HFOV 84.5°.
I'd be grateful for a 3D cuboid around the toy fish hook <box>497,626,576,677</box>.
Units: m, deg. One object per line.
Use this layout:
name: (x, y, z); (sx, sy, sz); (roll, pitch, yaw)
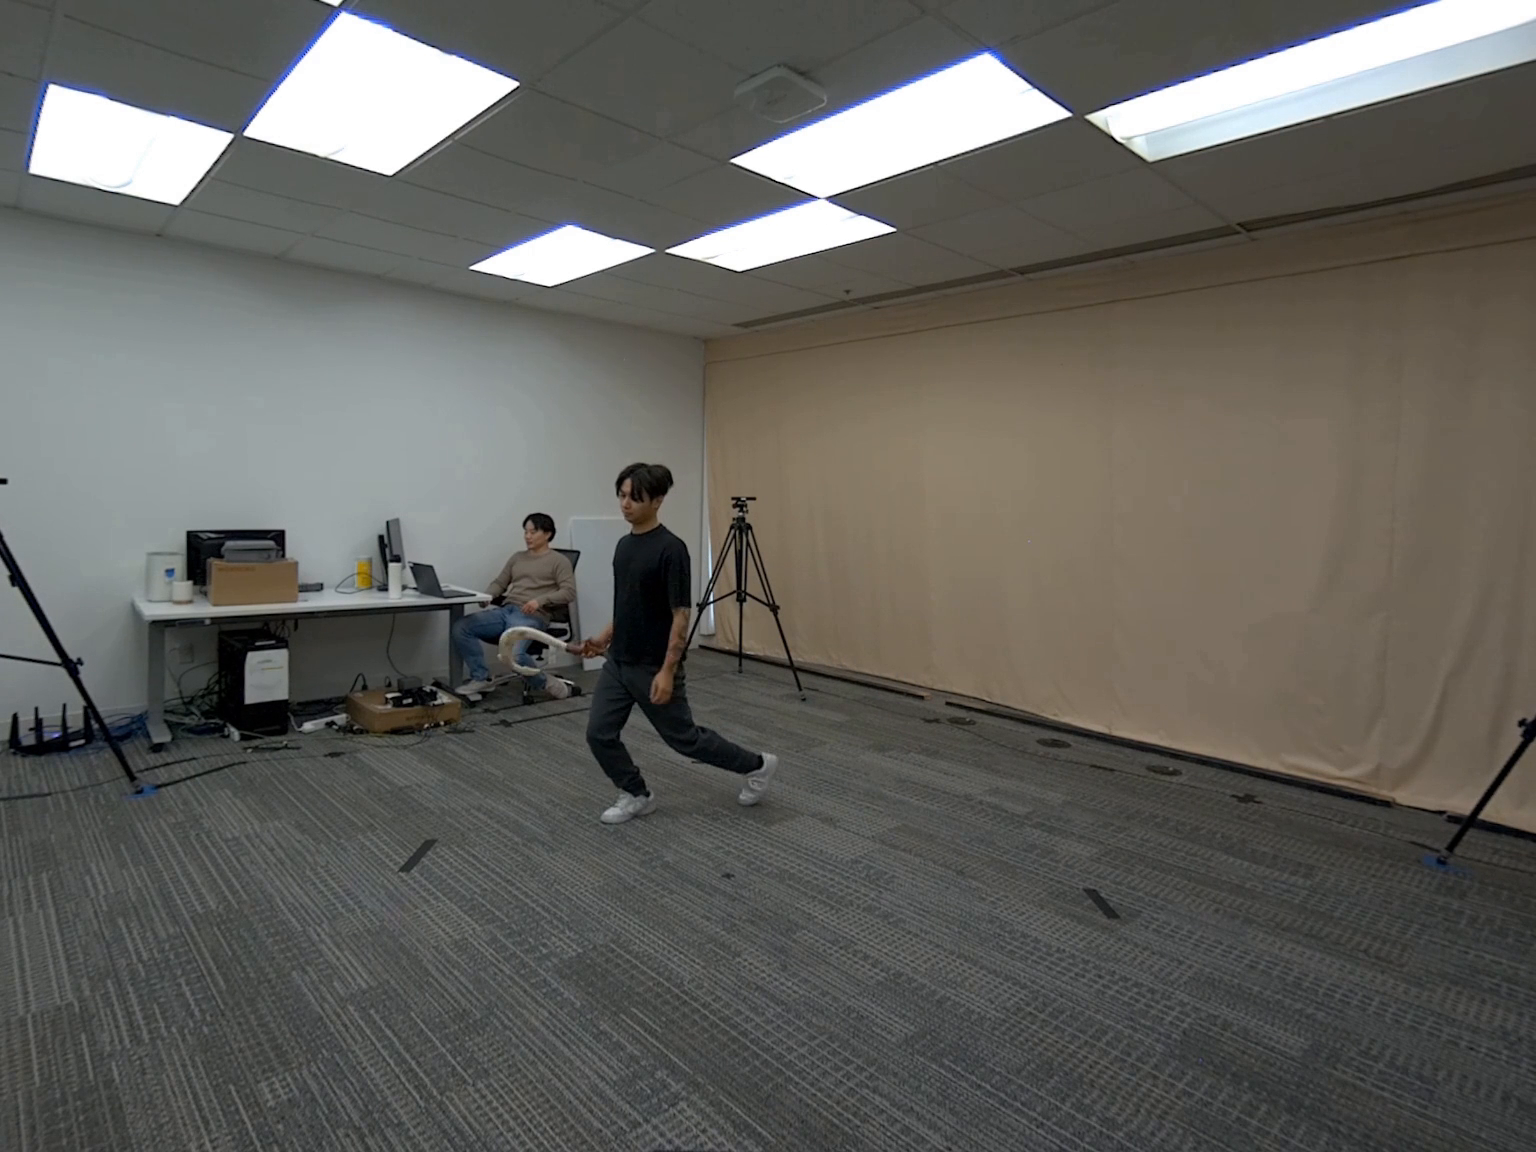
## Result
toy fish hook: (-0.952, 0.345, 3.802); (0.508, 0.222, 0.048); (9, 16, 3)
